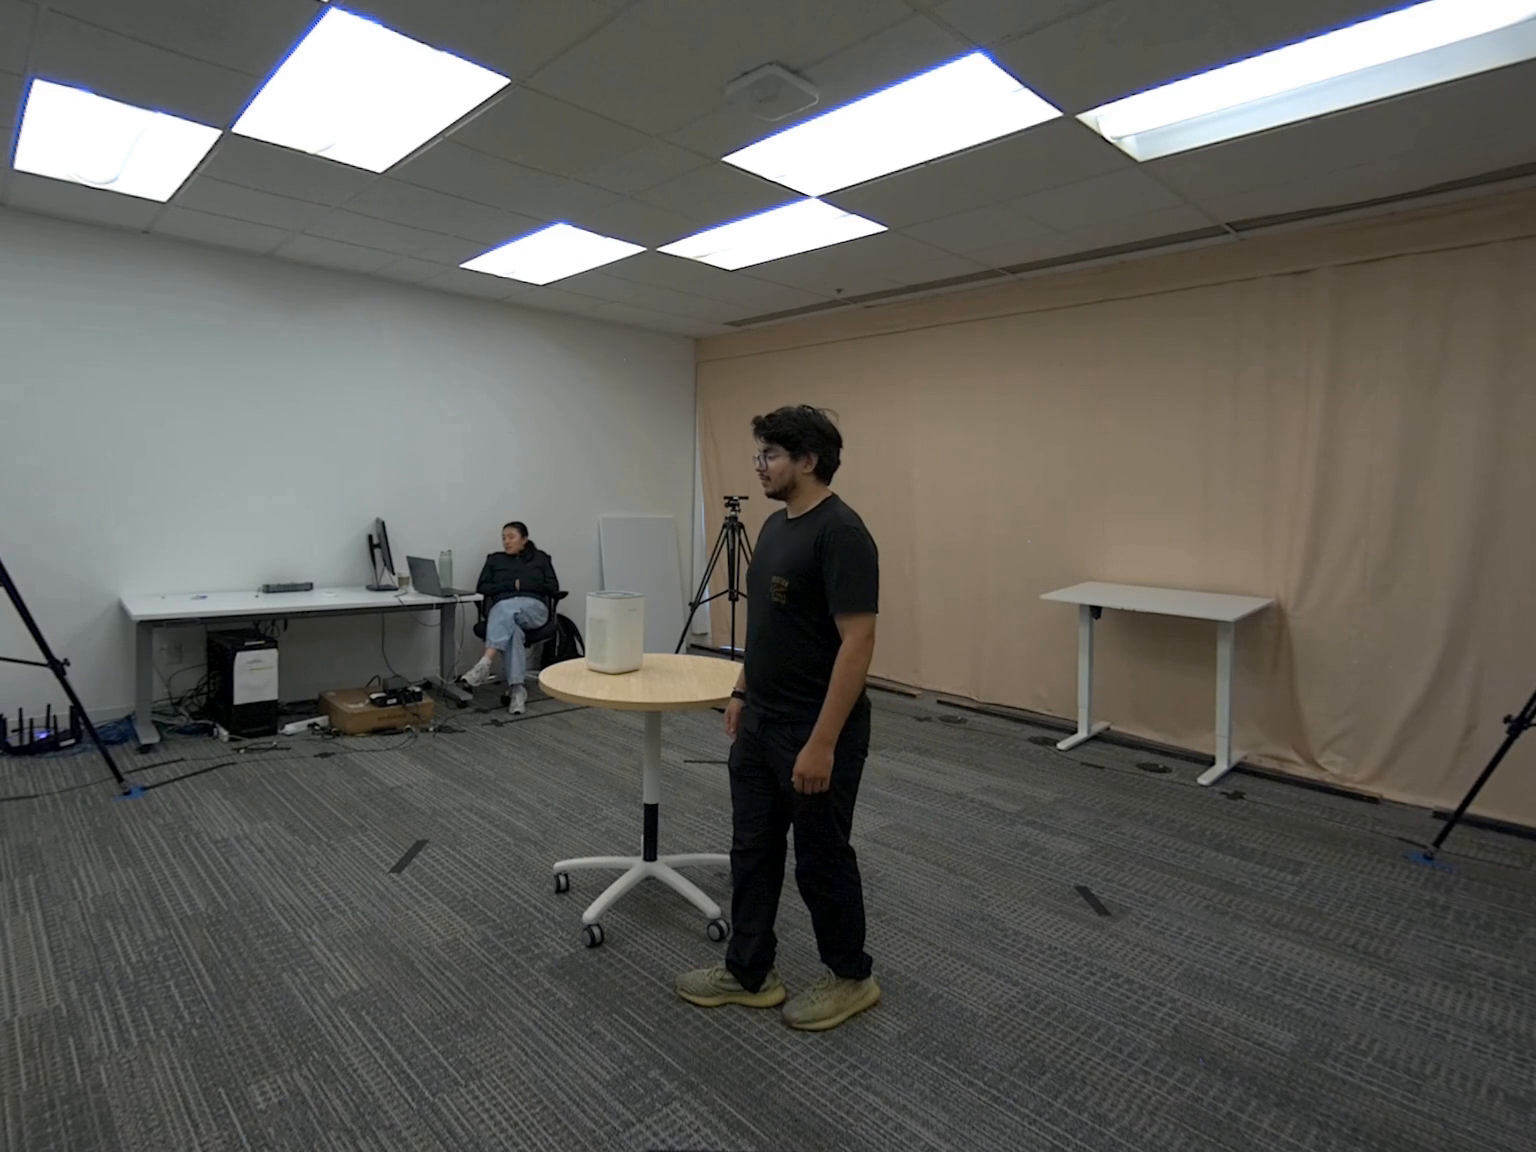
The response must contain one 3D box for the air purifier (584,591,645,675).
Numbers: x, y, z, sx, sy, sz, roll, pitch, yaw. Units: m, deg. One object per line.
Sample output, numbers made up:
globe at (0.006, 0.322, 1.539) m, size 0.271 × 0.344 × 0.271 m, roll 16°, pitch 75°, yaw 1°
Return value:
air purifier at (-0.538, 0.195, 2.915) m, size 0.176 × 0.265 × 0.167 m, roll 5°, pitch 4°, yaw 33°
